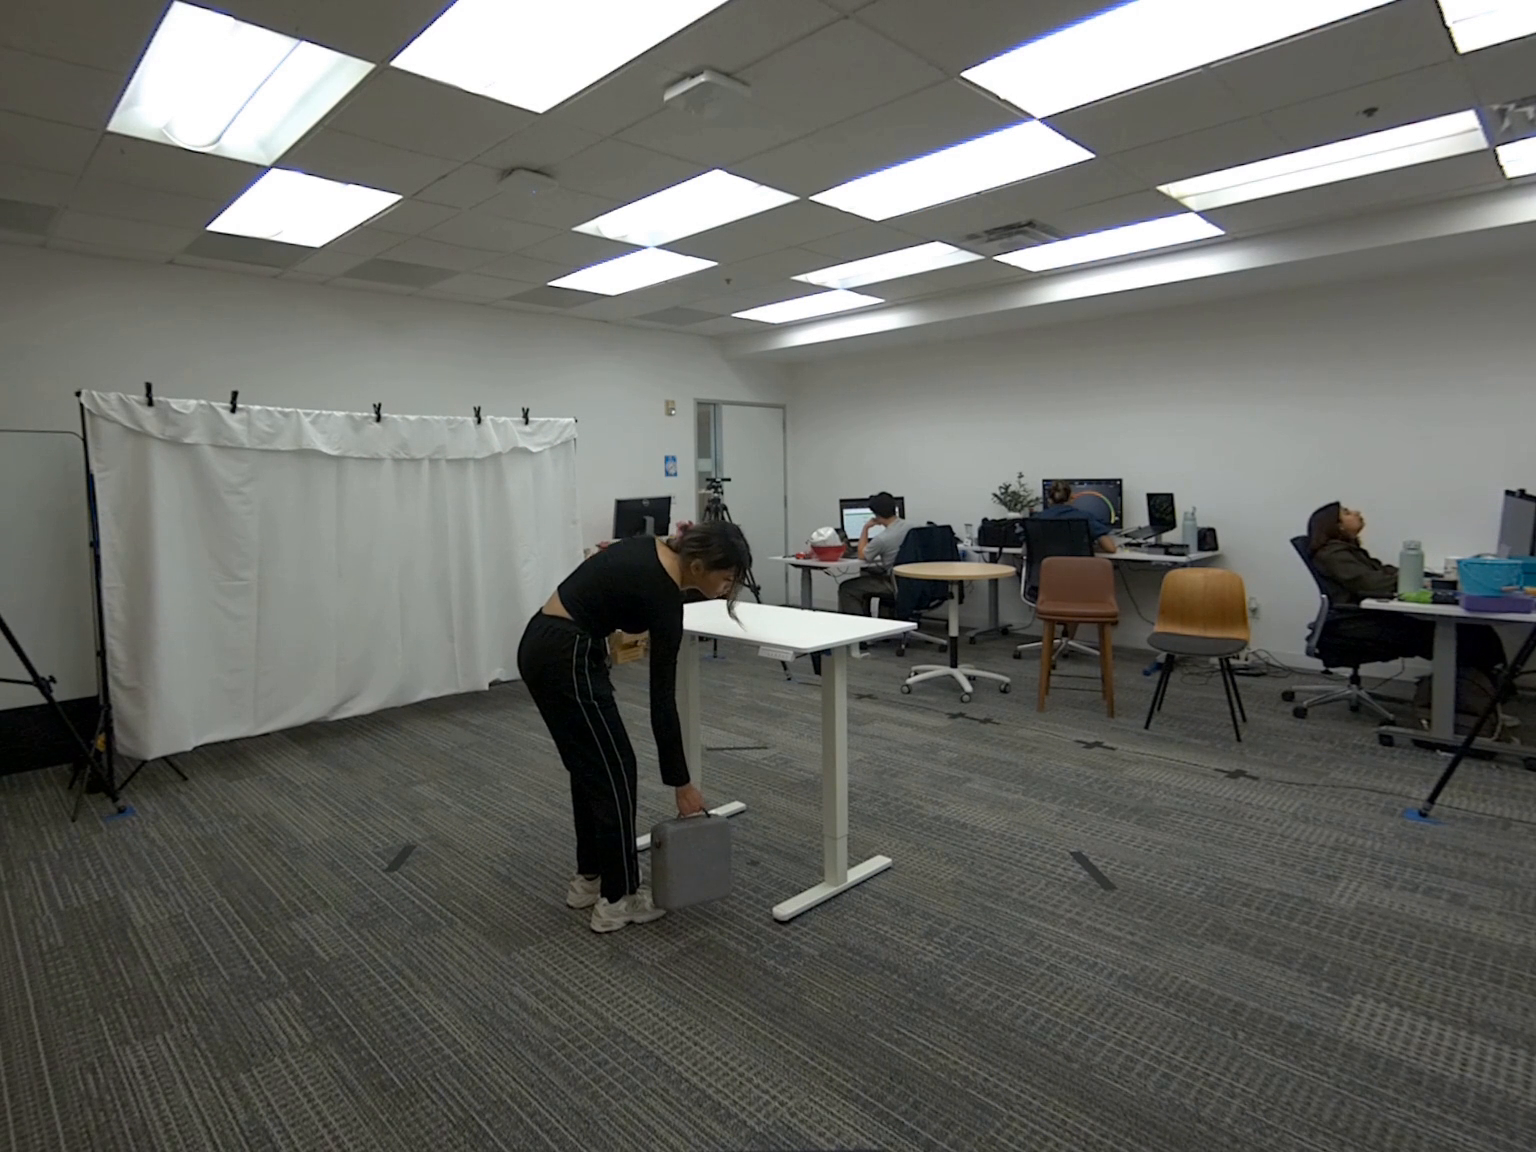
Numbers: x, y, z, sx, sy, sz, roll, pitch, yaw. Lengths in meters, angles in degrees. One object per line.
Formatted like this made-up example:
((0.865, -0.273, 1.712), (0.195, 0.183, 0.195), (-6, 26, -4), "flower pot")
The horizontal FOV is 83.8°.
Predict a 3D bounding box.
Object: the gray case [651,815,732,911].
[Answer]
((-0.232, 0.868, 2.647), (0.250, 0.262, 0.106), (2, -6, -31), "gray case")
